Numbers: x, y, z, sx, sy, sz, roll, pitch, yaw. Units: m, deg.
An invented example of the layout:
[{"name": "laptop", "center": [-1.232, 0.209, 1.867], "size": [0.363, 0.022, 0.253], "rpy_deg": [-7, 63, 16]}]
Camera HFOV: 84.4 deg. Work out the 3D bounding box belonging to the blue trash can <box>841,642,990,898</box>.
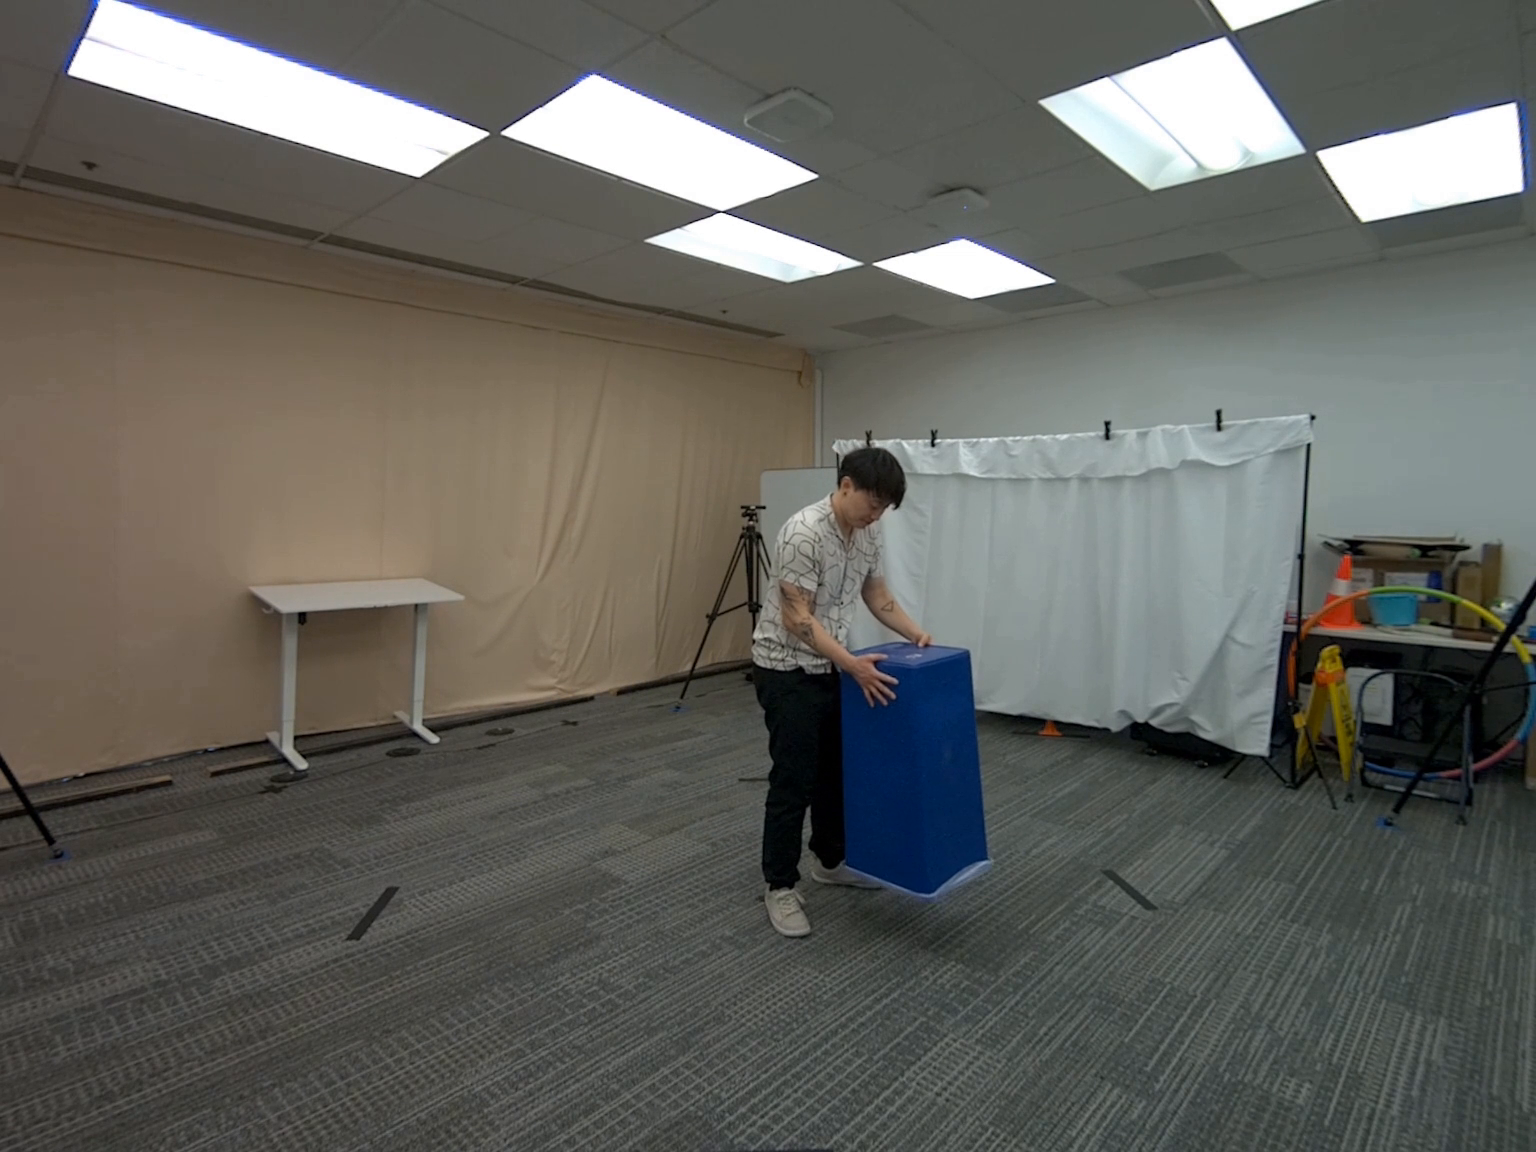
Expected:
[{"name": "blue trash can", "center": [0.476, 0.601, 2.736], "size": [0.363, 0.712, 0.390], "rpy_deg": [-7, 5, -42]}]
